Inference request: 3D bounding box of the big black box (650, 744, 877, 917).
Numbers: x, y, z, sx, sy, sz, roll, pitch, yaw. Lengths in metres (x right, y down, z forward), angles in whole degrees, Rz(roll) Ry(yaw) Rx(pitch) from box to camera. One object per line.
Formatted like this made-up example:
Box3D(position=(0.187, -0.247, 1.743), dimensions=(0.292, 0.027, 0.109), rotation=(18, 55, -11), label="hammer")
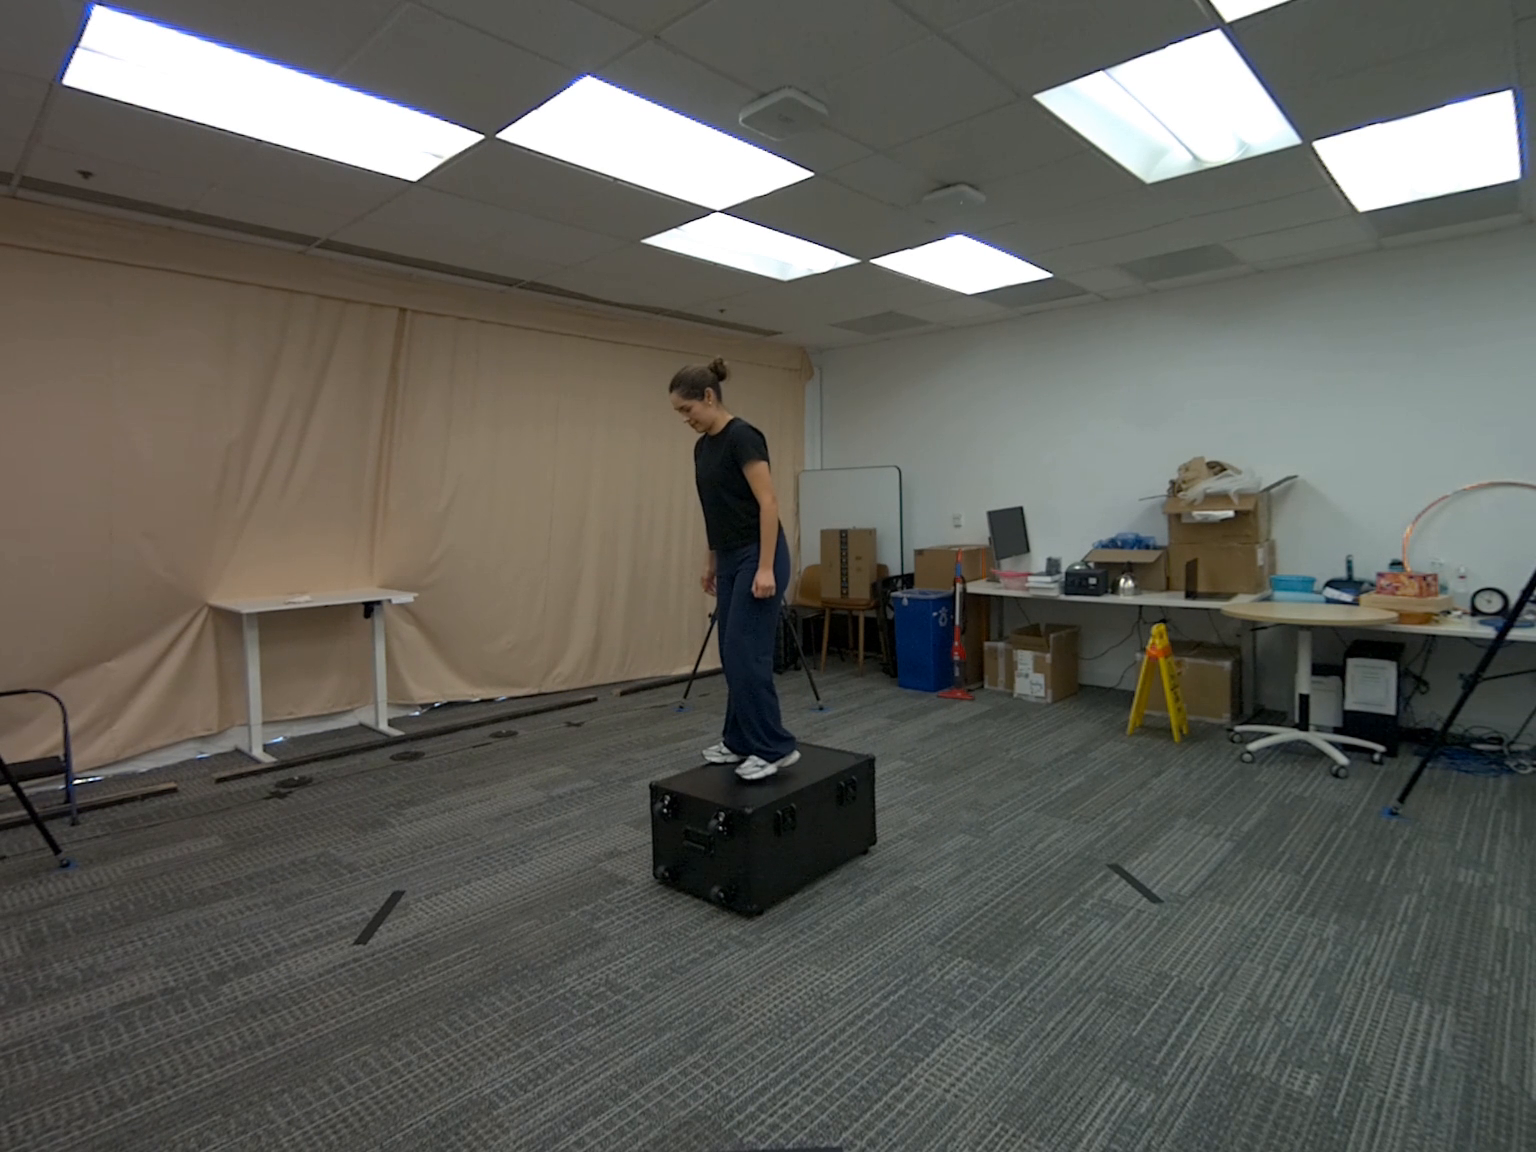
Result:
Box3D(position=(-0.008, 0.929, 3.214), dimensions=(0.538, 0.395, 0.835), rotation=(1, 4, 40), label="big black box")
